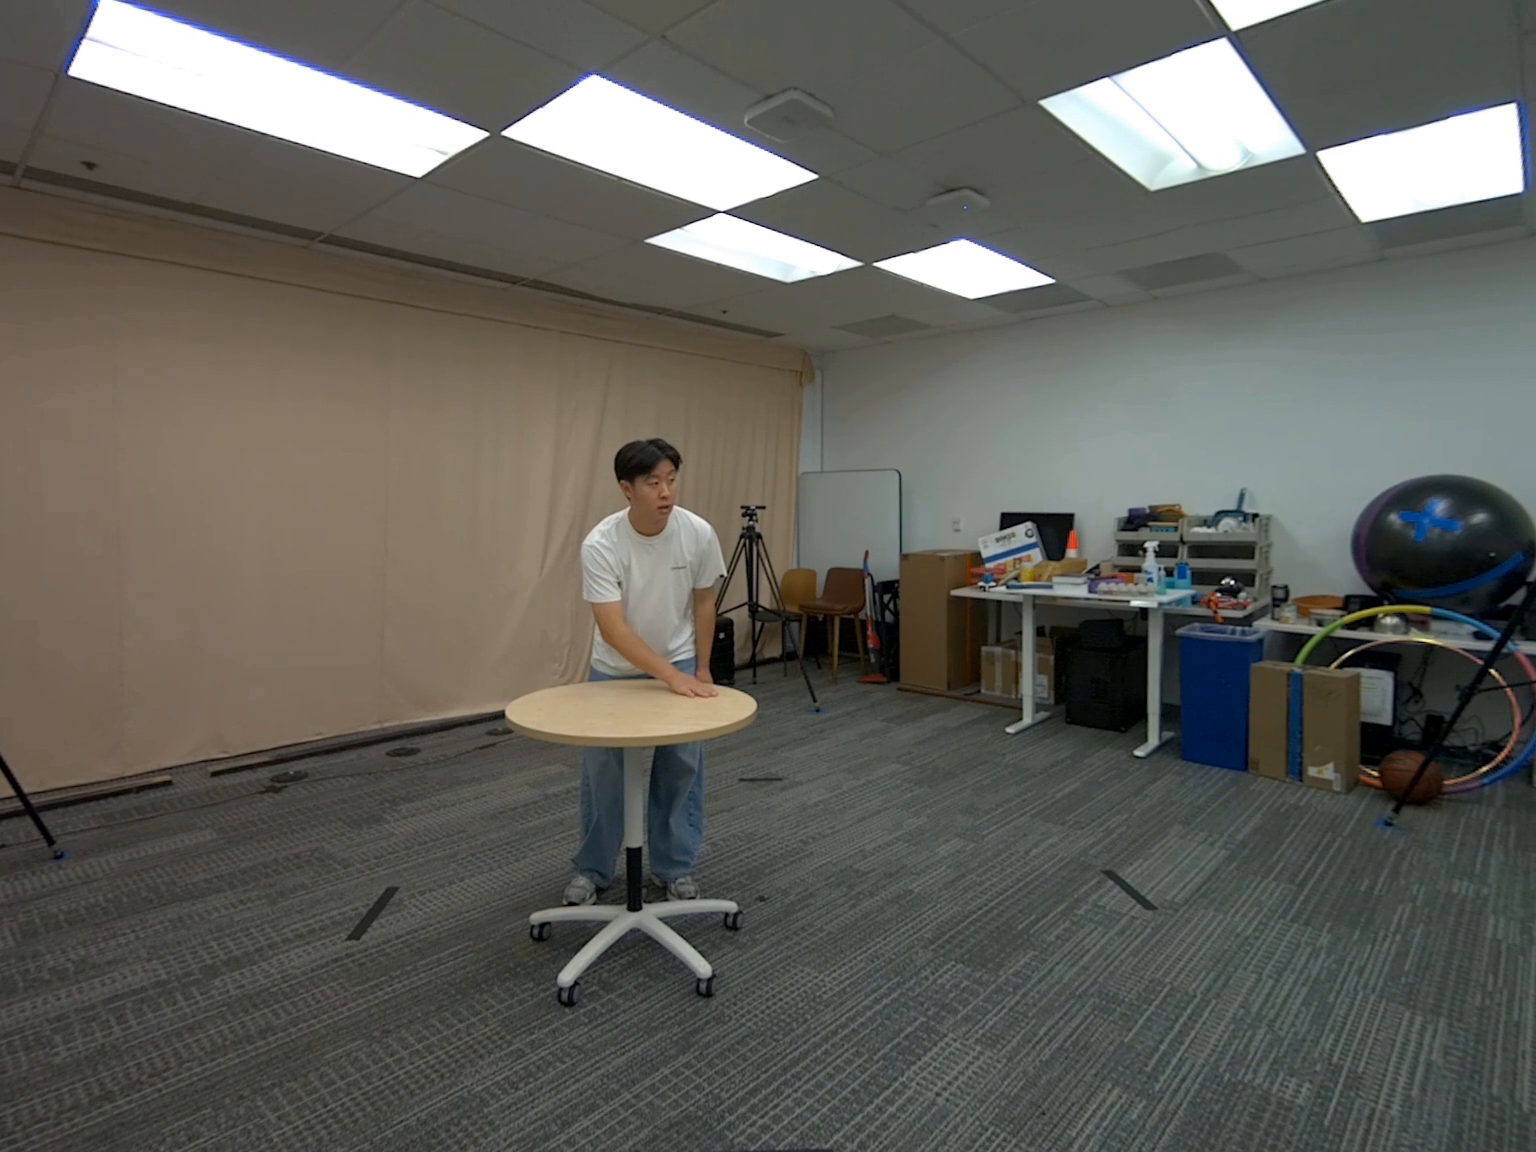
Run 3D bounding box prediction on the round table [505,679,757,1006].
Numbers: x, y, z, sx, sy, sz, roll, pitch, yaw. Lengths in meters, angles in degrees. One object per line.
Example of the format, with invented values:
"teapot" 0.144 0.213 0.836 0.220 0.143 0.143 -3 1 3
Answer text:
"round table" -0.404 0.785 2.609 0.763 0.792 0.766 0 4 -2
